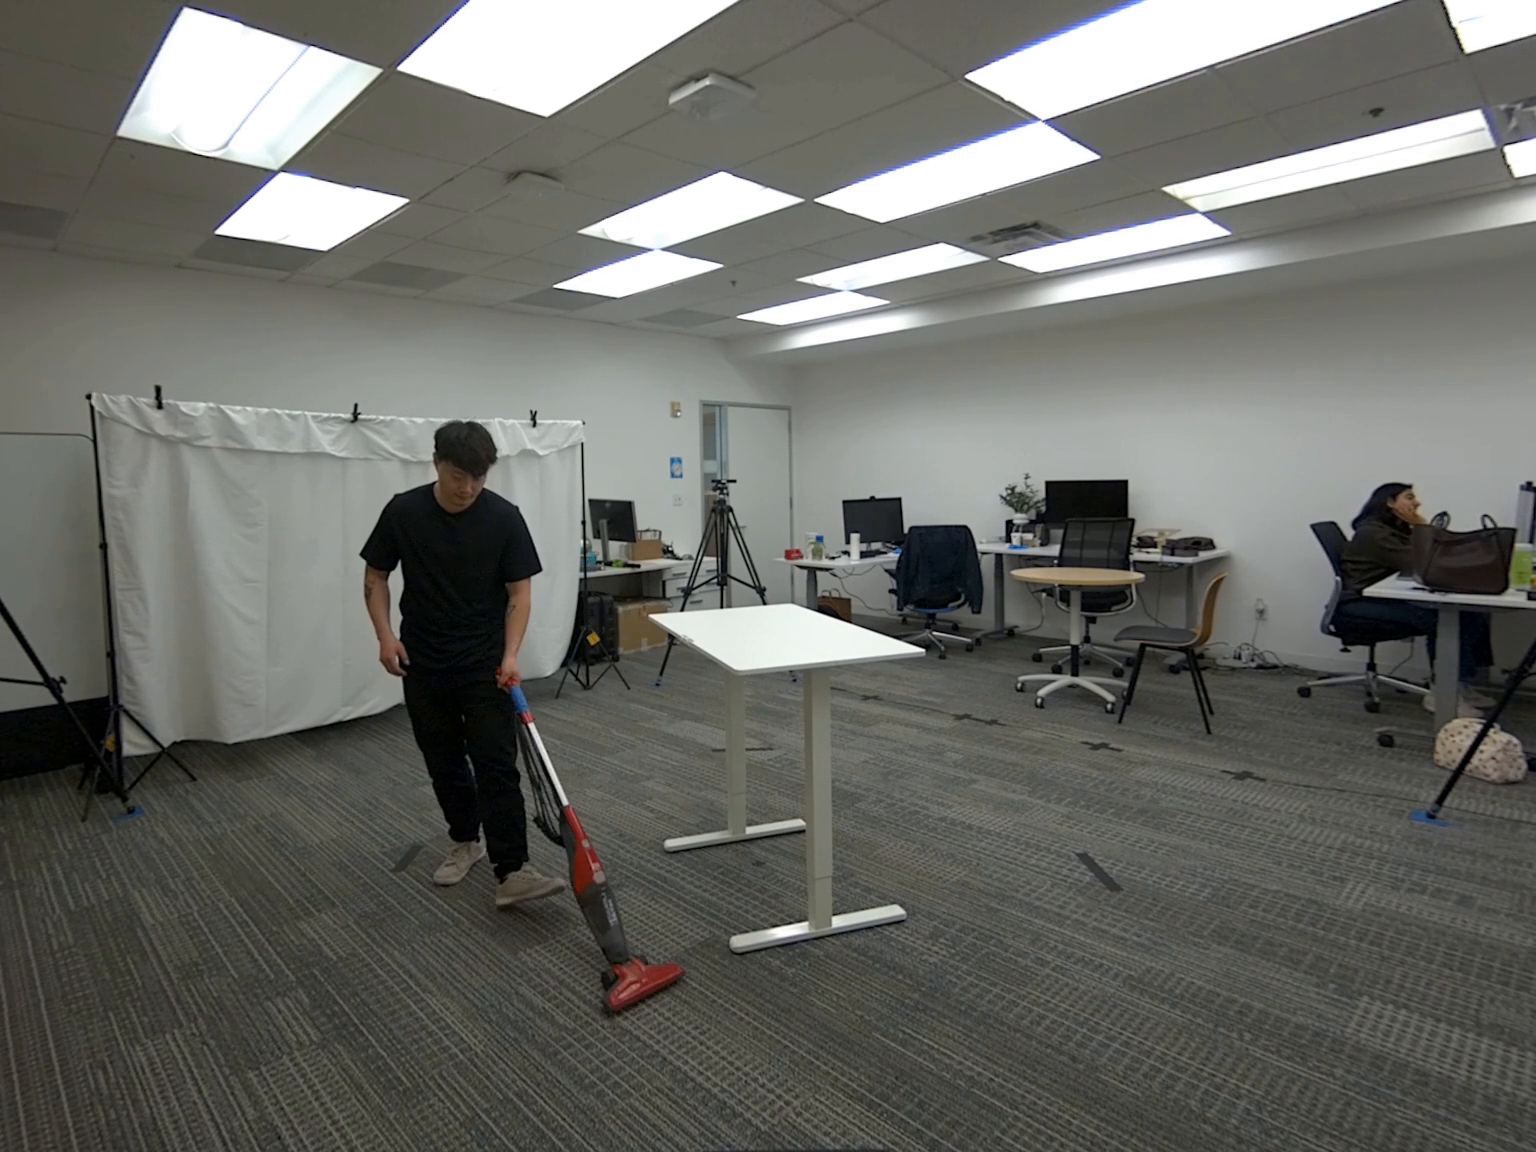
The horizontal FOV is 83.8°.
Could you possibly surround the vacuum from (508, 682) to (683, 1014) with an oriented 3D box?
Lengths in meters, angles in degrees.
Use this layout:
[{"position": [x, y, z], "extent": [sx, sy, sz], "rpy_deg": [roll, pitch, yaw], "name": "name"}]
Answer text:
[{"position": [-0.614, 0.743, 2.597], "extent": [0.246, 1.083, 0.143], "rpy_deg": [-8, -38, -42], "name": "vacuum"}]
